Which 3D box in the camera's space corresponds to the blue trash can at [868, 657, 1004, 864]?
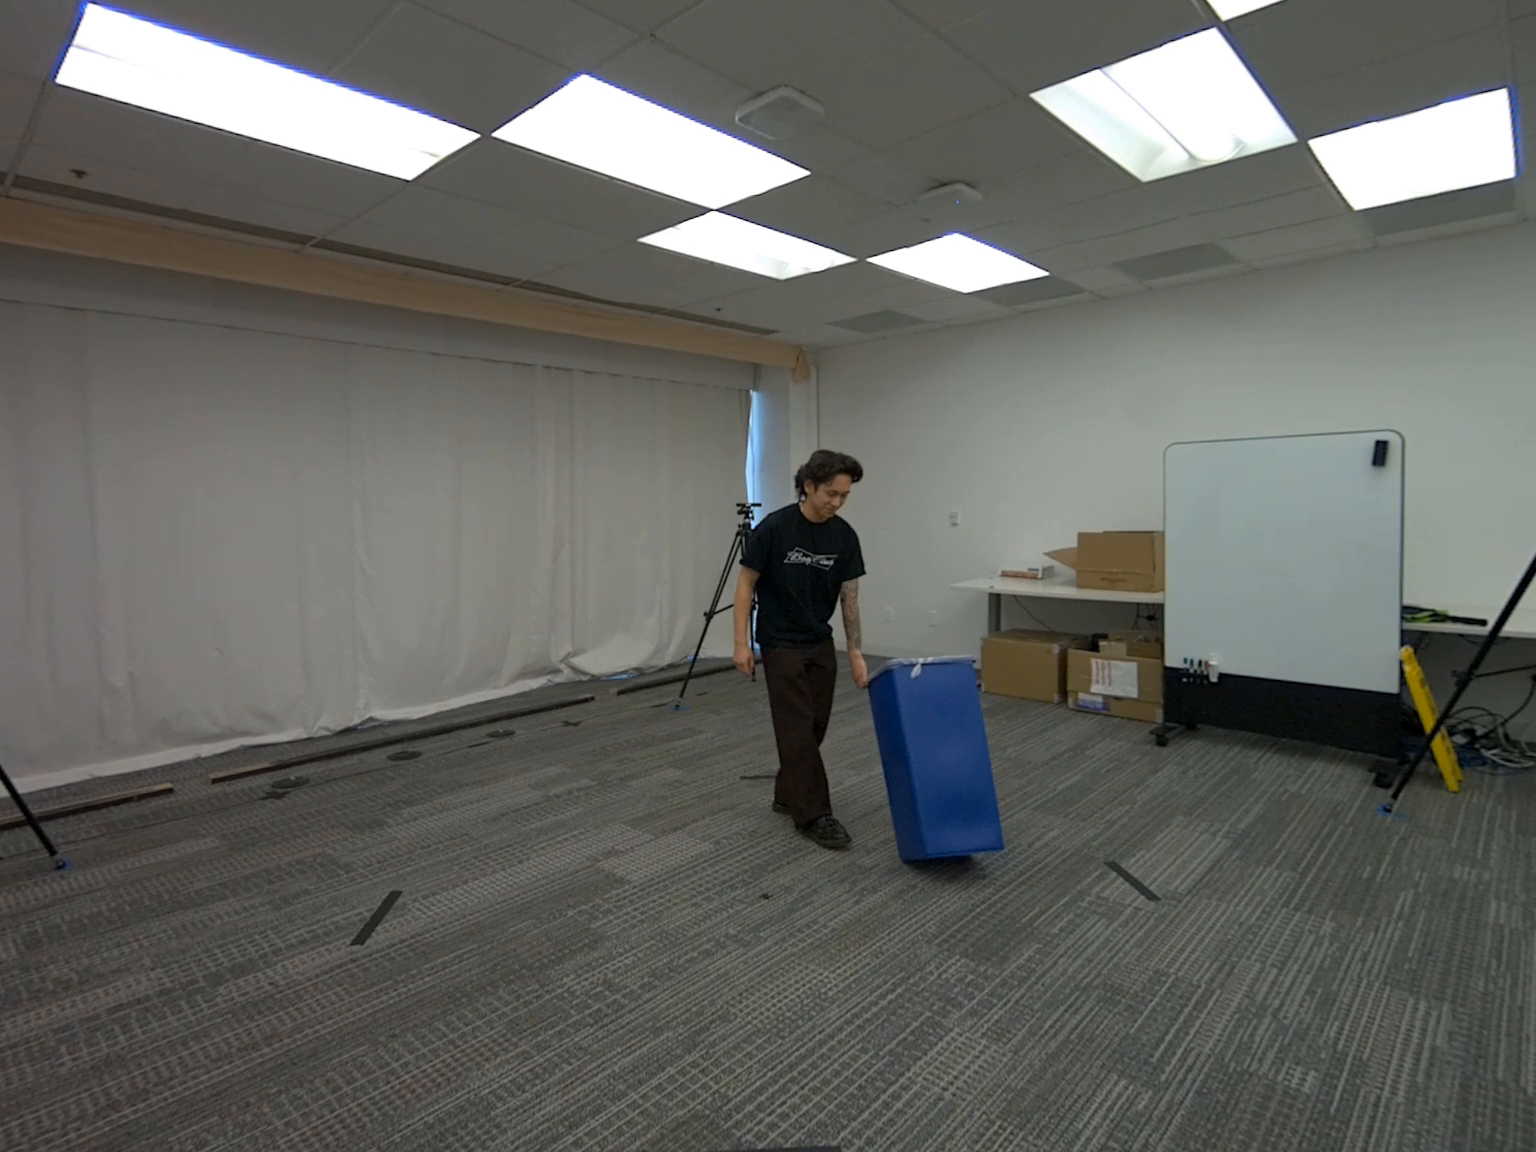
[{"bbox_3d":[0.651,0.716,3.287,0.373,0.723,0.374,0,-21,-13],"label":"blue trash can"}]
